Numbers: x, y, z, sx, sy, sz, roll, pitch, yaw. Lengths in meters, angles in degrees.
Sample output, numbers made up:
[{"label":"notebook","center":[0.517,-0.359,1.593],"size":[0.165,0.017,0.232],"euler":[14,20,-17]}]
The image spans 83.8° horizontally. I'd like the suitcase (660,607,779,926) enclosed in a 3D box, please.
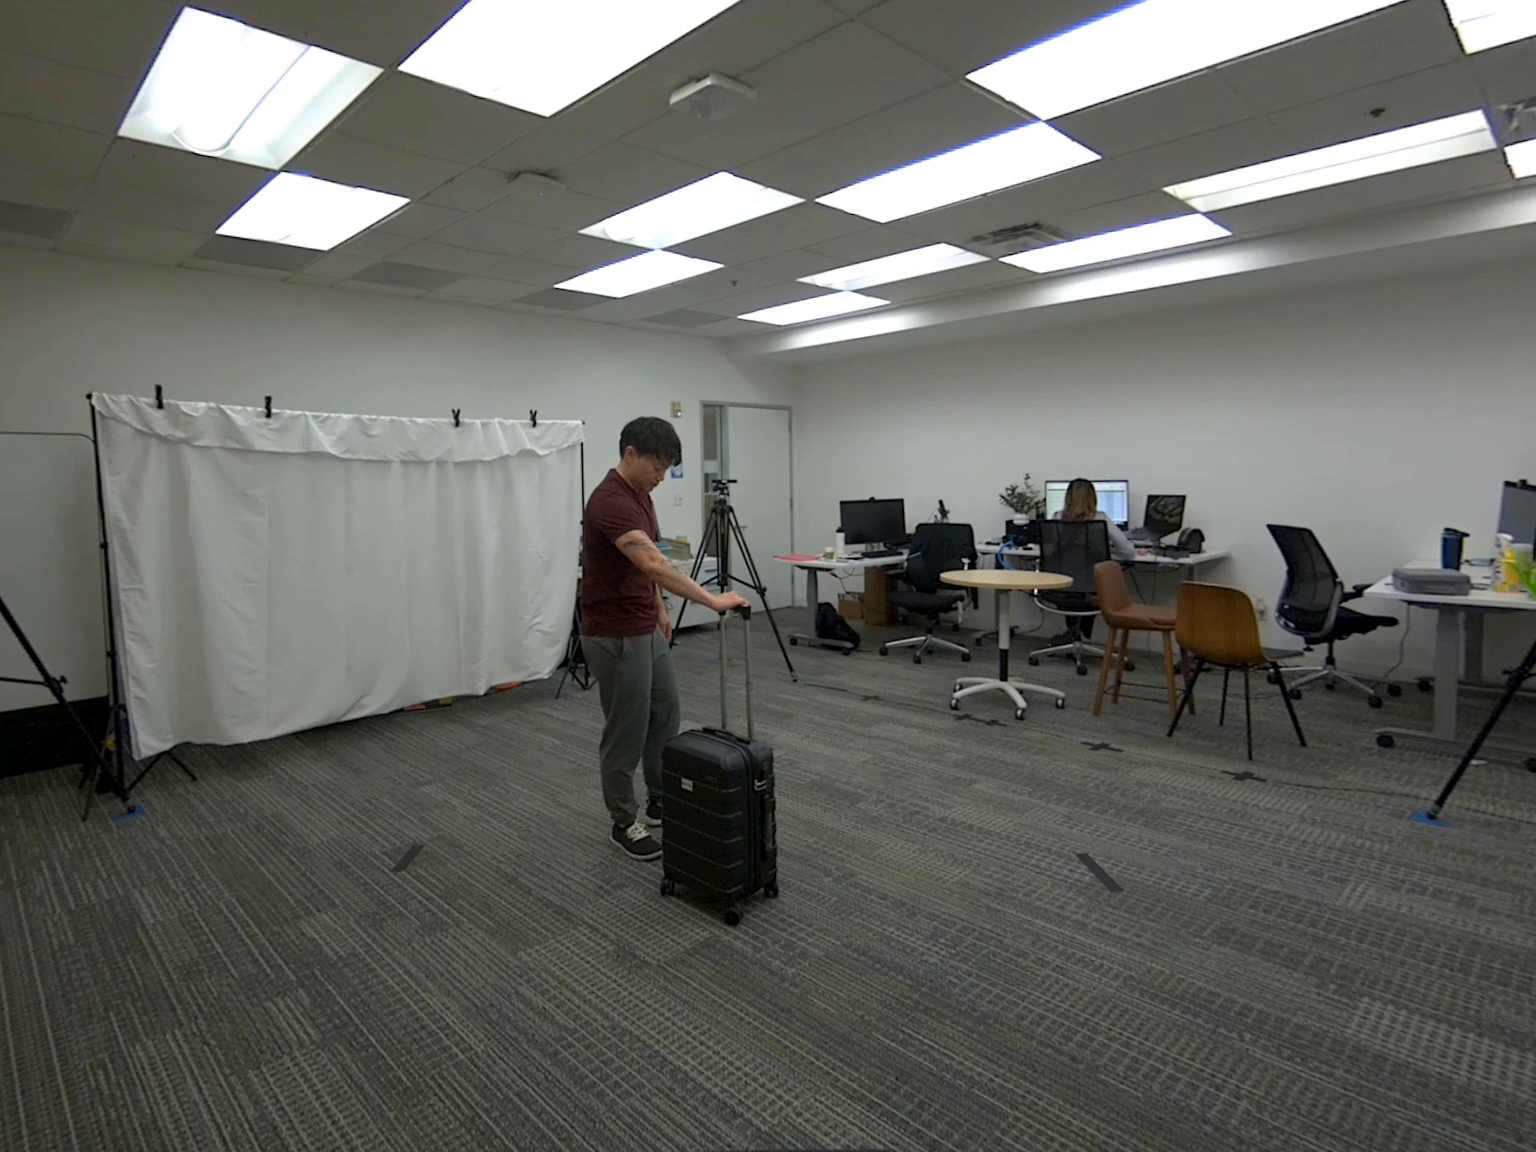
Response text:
[{"label":"suitcase","center":[-0.169,0.603,2.845],"size":[0.395,0.974,0.250],"euler":[2,6,45]}]
